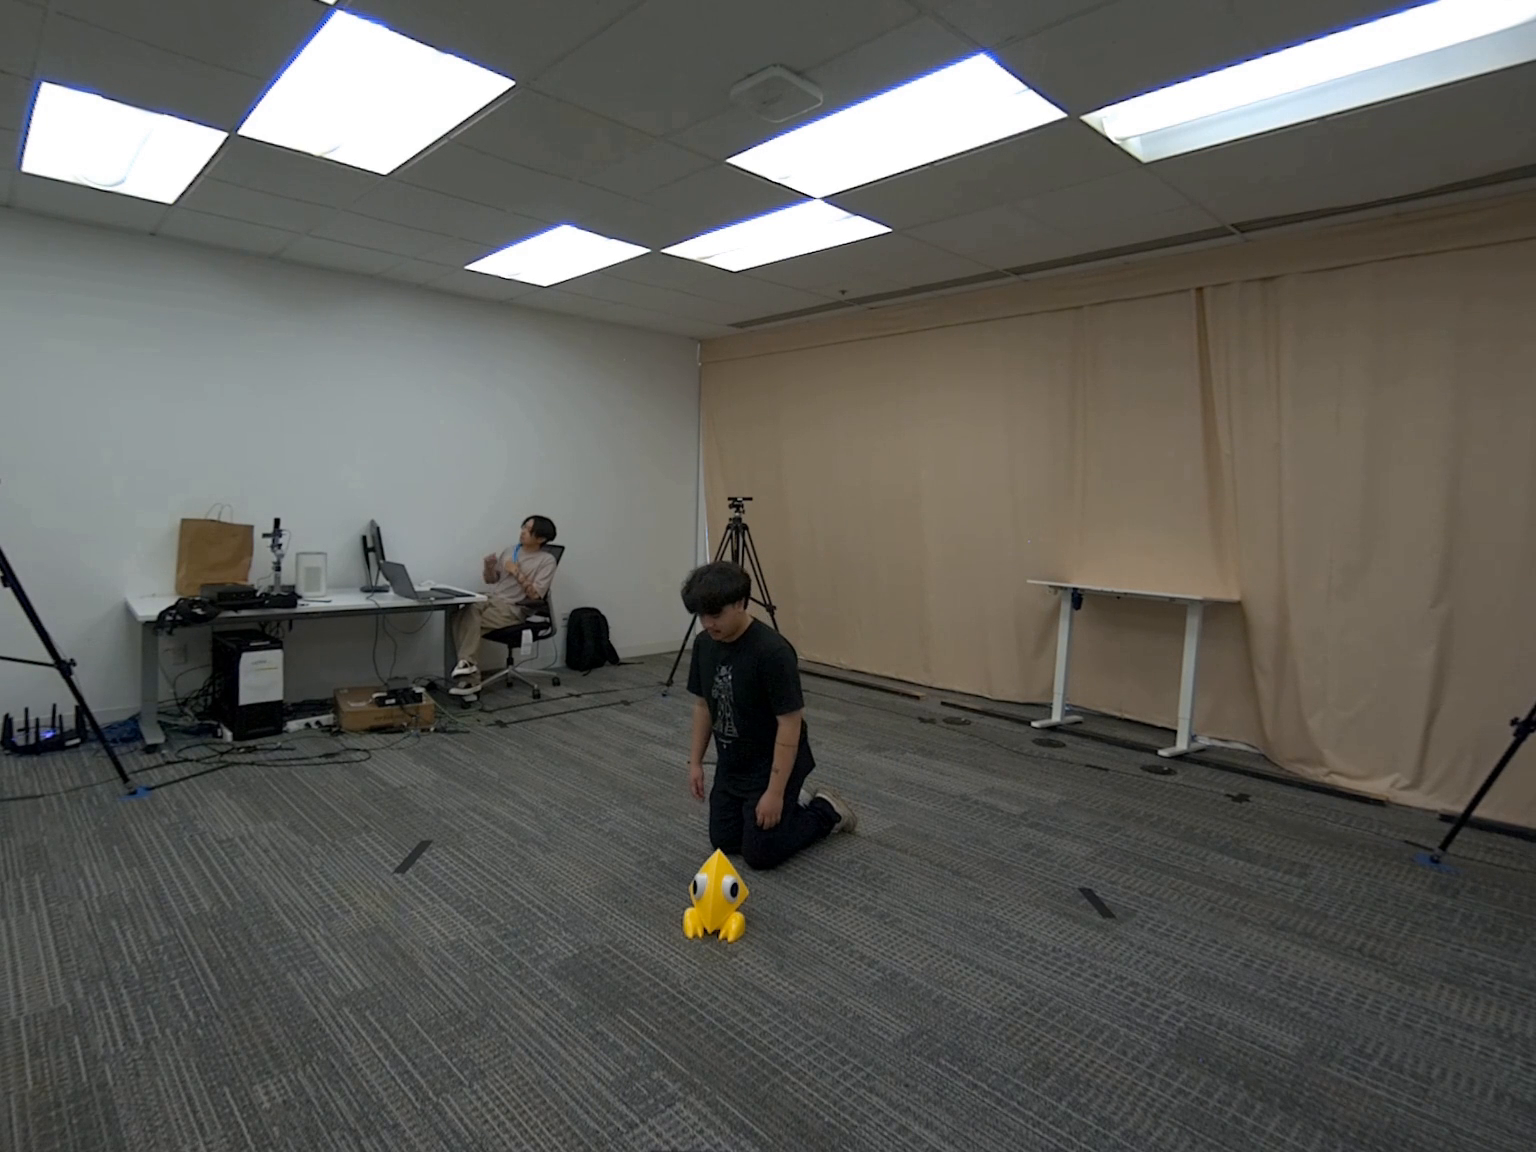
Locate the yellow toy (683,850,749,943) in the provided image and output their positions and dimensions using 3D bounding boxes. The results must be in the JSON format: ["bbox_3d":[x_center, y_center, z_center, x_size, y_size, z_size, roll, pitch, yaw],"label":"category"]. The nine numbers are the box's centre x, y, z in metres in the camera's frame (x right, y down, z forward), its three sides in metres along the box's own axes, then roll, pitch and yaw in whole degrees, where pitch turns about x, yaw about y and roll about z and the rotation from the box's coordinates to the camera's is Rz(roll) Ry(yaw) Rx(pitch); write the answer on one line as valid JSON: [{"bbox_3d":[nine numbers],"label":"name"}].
[{"bbox_3d":[-0.182,1.030,2.728,0.206,0.230,0.192,2,2,6],"label":"yellow toy"}]
